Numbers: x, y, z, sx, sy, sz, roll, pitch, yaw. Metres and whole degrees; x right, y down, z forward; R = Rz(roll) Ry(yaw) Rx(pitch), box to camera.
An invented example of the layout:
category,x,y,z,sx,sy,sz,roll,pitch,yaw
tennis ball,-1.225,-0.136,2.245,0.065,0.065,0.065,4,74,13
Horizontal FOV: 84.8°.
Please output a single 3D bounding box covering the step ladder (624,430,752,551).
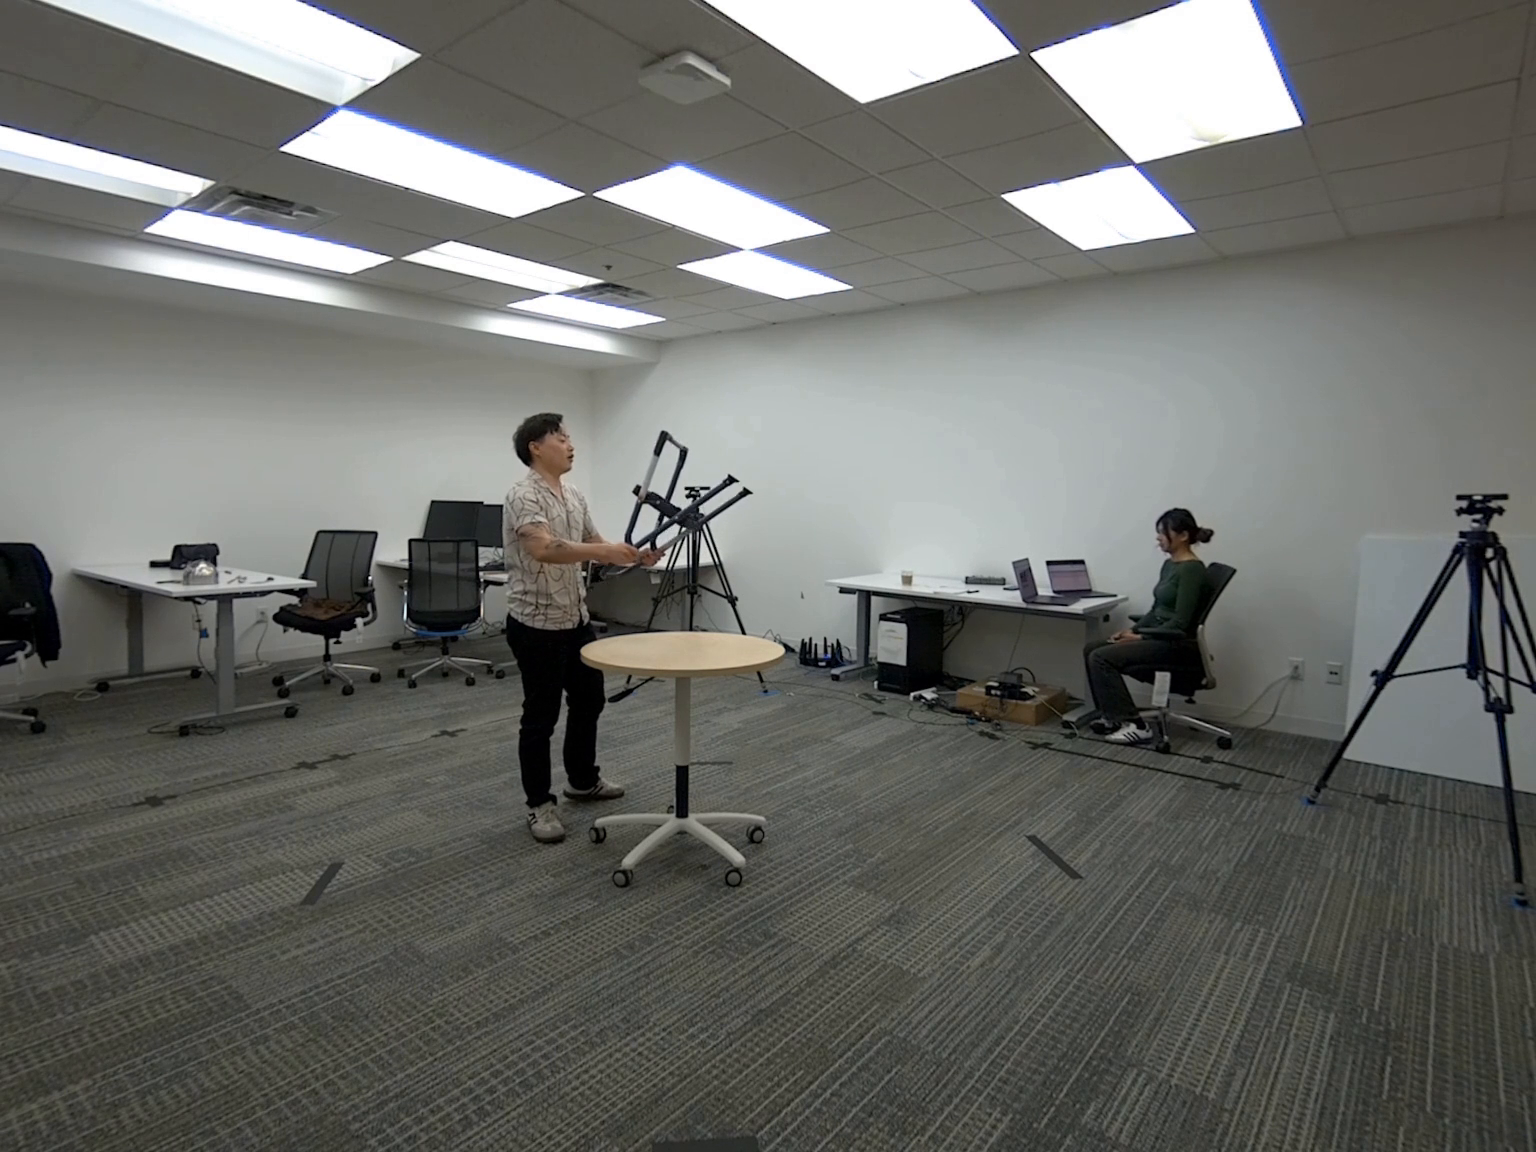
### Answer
category,x,y,z,sx,sy,sz,roll,pitch,yaw
step ladder,-0.409,-0.199,3.326,0.354,0.606,0.425,36,2,8
